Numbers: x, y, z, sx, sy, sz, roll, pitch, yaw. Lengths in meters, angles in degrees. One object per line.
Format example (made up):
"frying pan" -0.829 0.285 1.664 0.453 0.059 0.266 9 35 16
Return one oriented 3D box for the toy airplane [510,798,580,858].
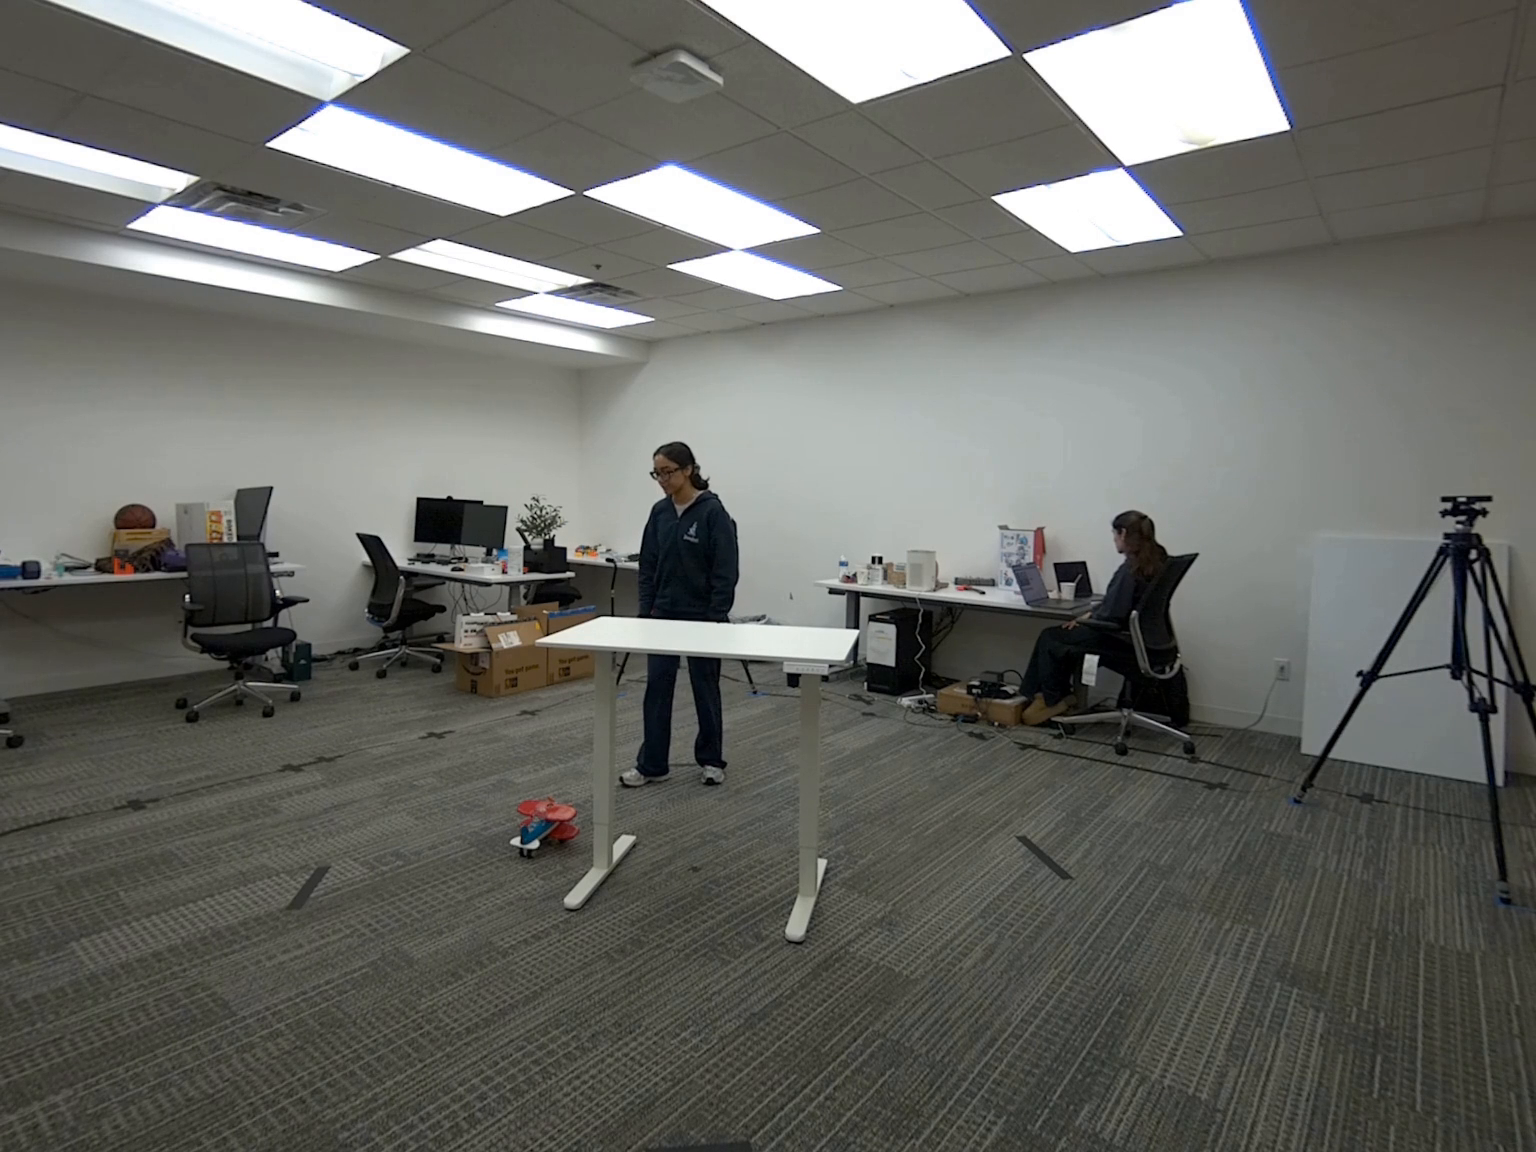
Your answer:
"toy airplane" -0.849 0.972 3.256 0.250 0.156 0.261 0 4 -6
